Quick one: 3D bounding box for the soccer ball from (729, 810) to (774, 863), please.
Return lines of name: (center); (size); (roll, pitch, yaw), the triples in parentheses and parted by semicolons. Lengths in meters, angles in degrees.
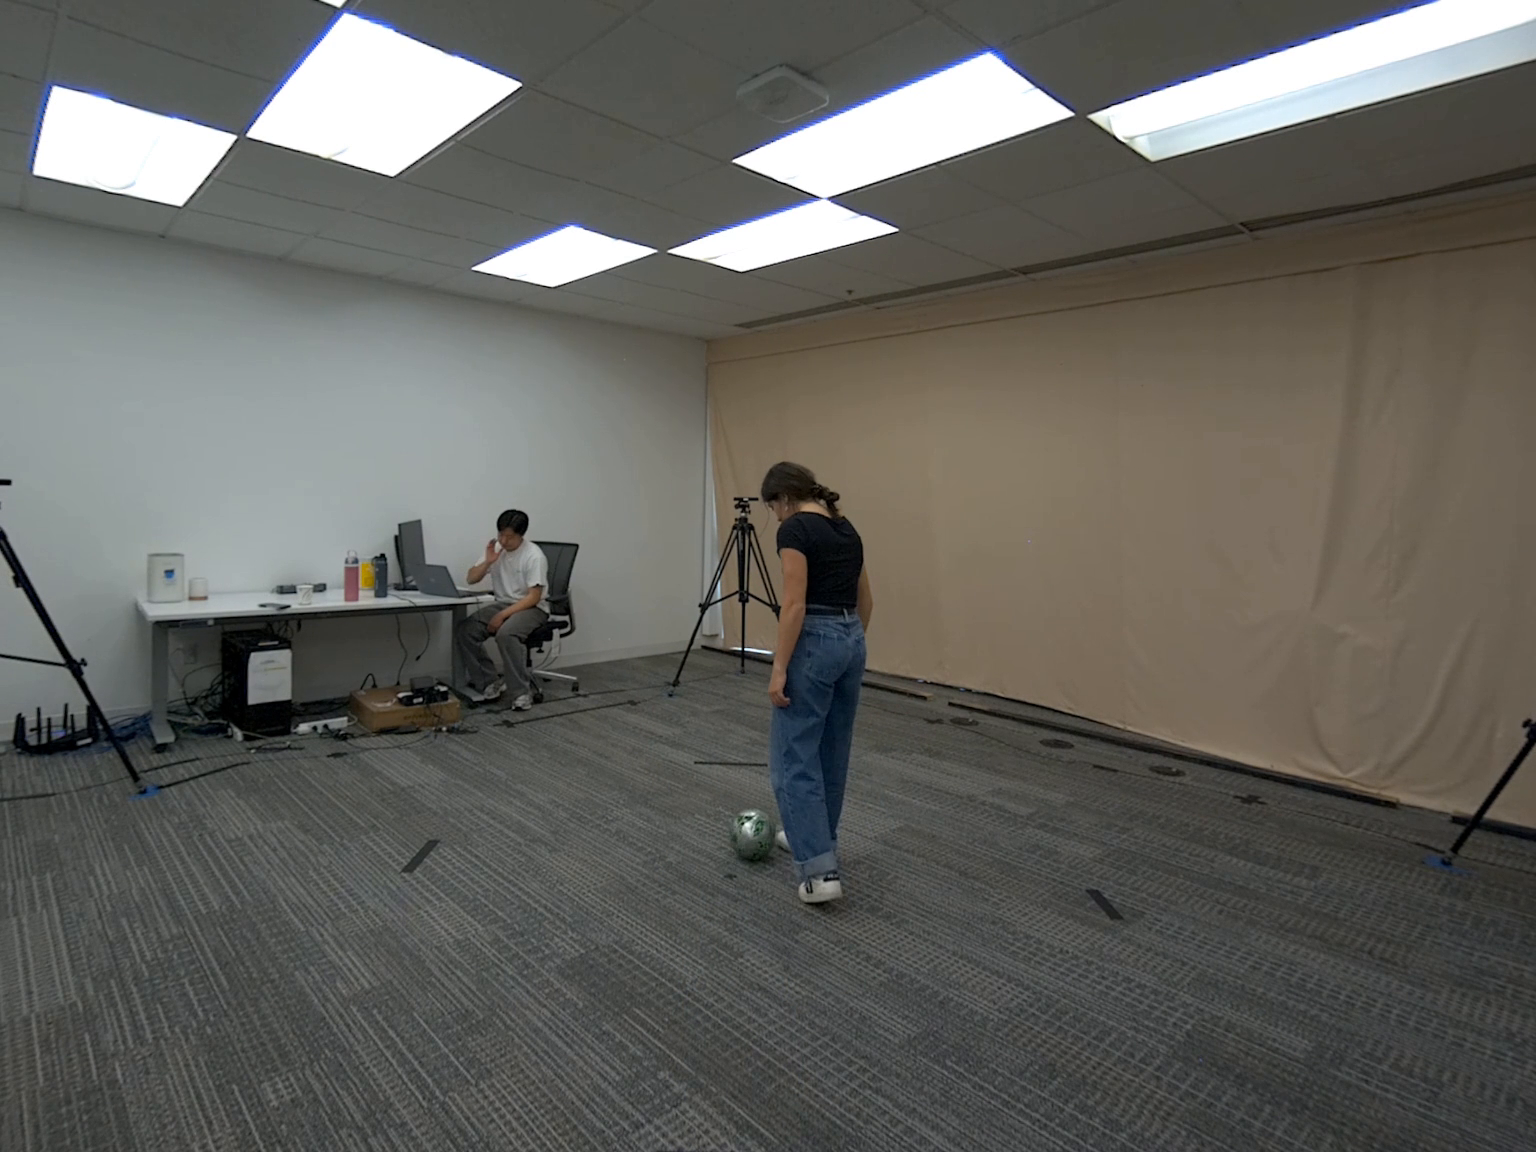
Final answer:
soccer ball: (-0.065, 0.993, 3.269); (0.187, 0.187, 0.188); (1, 4, -1)
